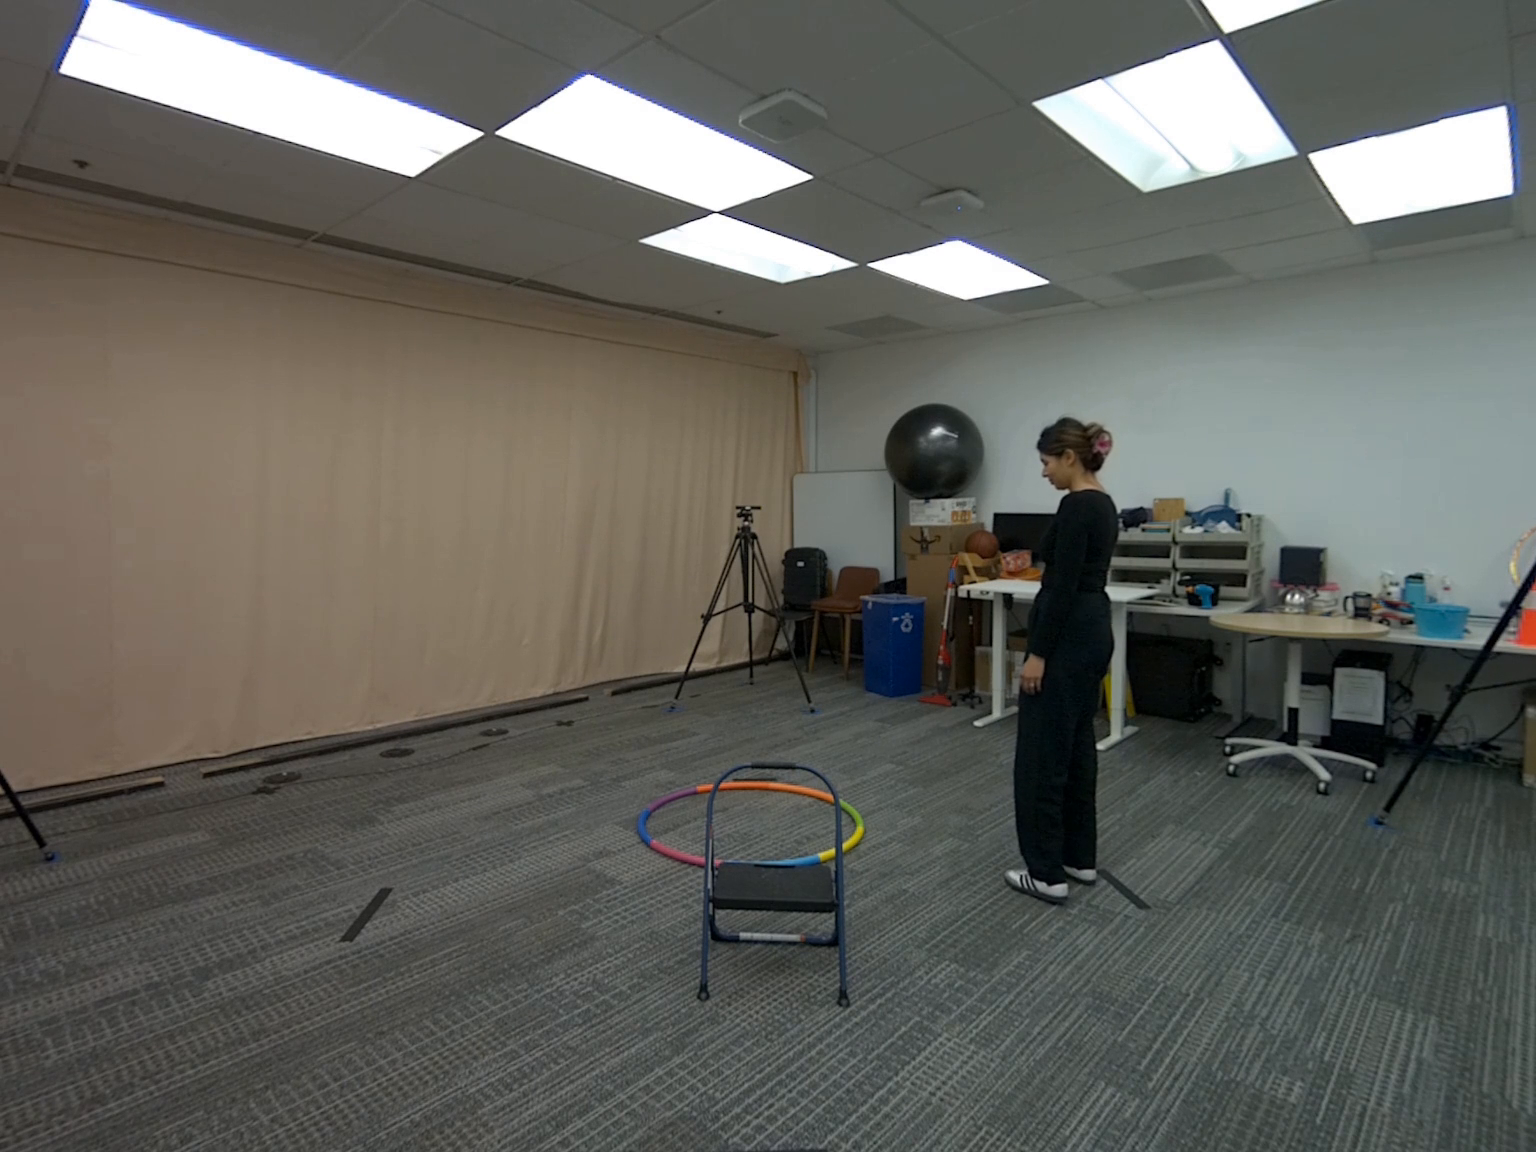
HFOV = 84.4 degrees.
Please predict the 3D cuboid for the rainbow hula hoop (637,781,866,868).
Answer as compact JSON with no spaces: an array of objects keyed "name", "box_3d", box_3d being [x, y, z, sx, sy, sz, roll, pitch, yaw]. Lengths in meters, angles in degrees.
[{"name":"rainbow hula hoop","box_3d":[-0.080,1.051,3.671,0.978,0.035,0.982,-1,5,-2]}]
